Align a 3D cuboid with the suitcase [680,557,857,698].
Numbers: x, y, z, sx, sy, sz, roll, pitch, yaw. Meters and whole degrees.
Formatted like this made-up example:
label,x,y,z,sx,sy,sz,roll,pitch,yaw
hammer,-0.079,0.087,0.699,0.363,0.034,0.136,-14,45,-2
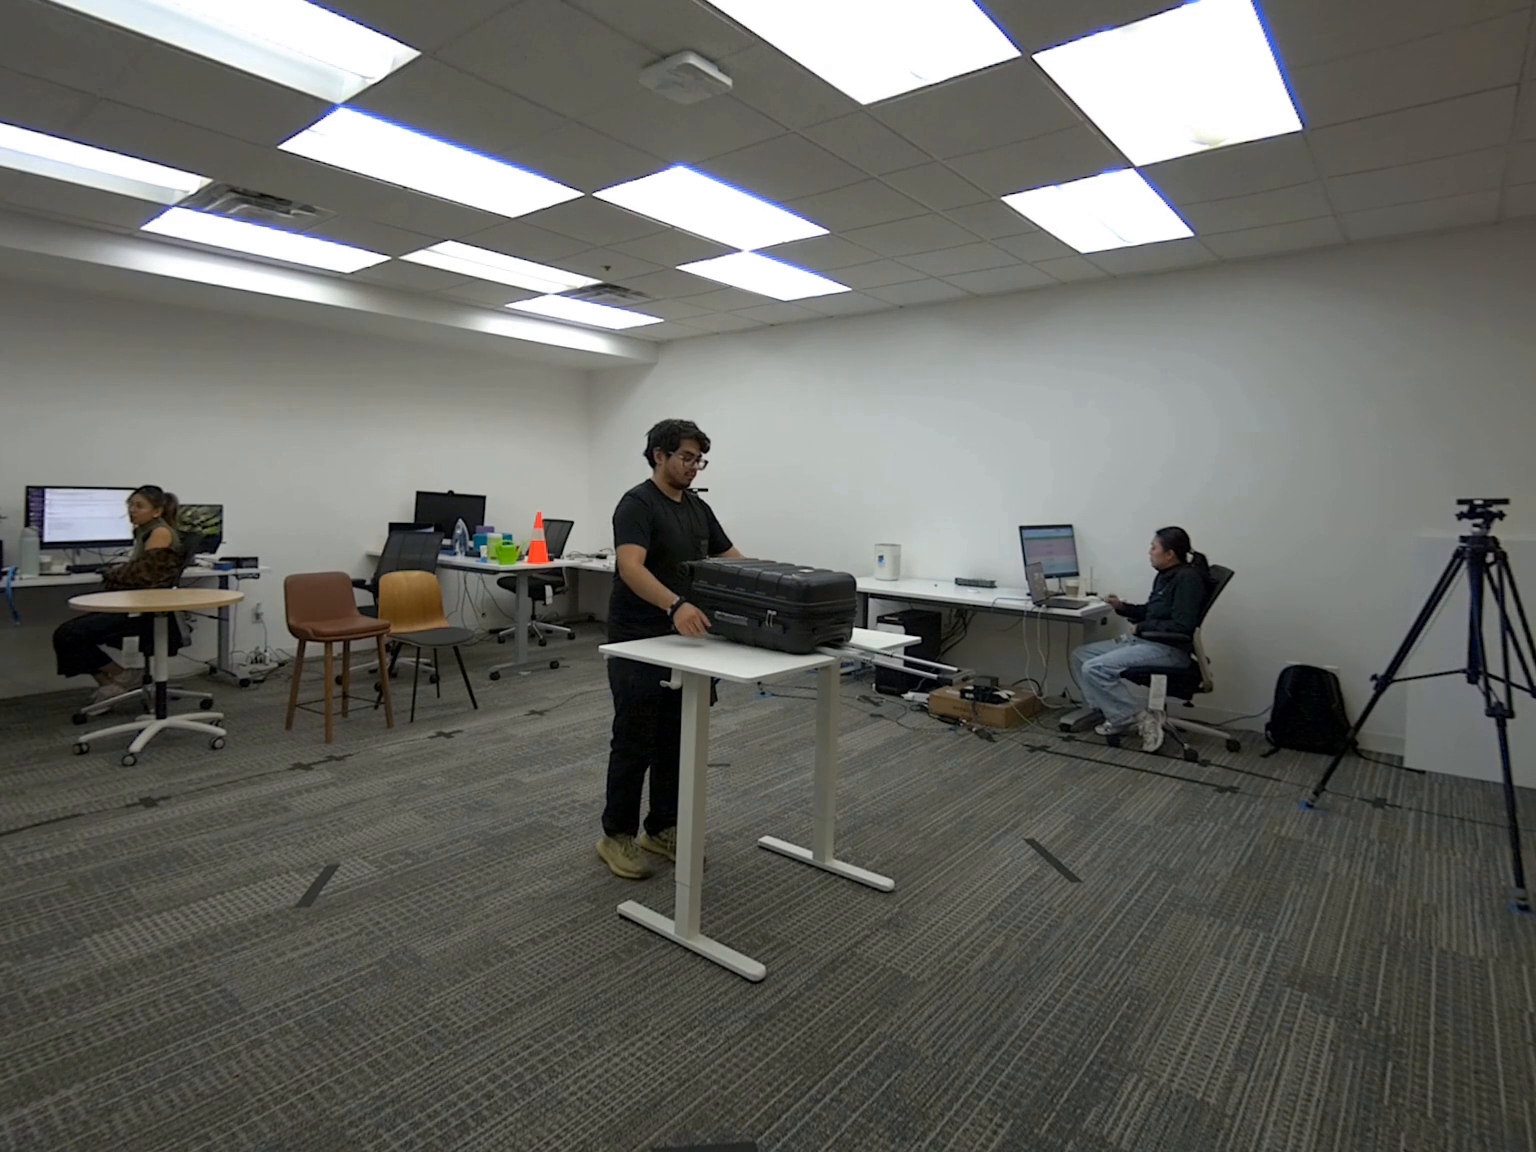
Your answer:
label,x,y,z,sx,sy,sz,roll,pitch,yaw
suitcase,0.162,0.113,2.718,1.013,0.256,0.372,8,7,40
